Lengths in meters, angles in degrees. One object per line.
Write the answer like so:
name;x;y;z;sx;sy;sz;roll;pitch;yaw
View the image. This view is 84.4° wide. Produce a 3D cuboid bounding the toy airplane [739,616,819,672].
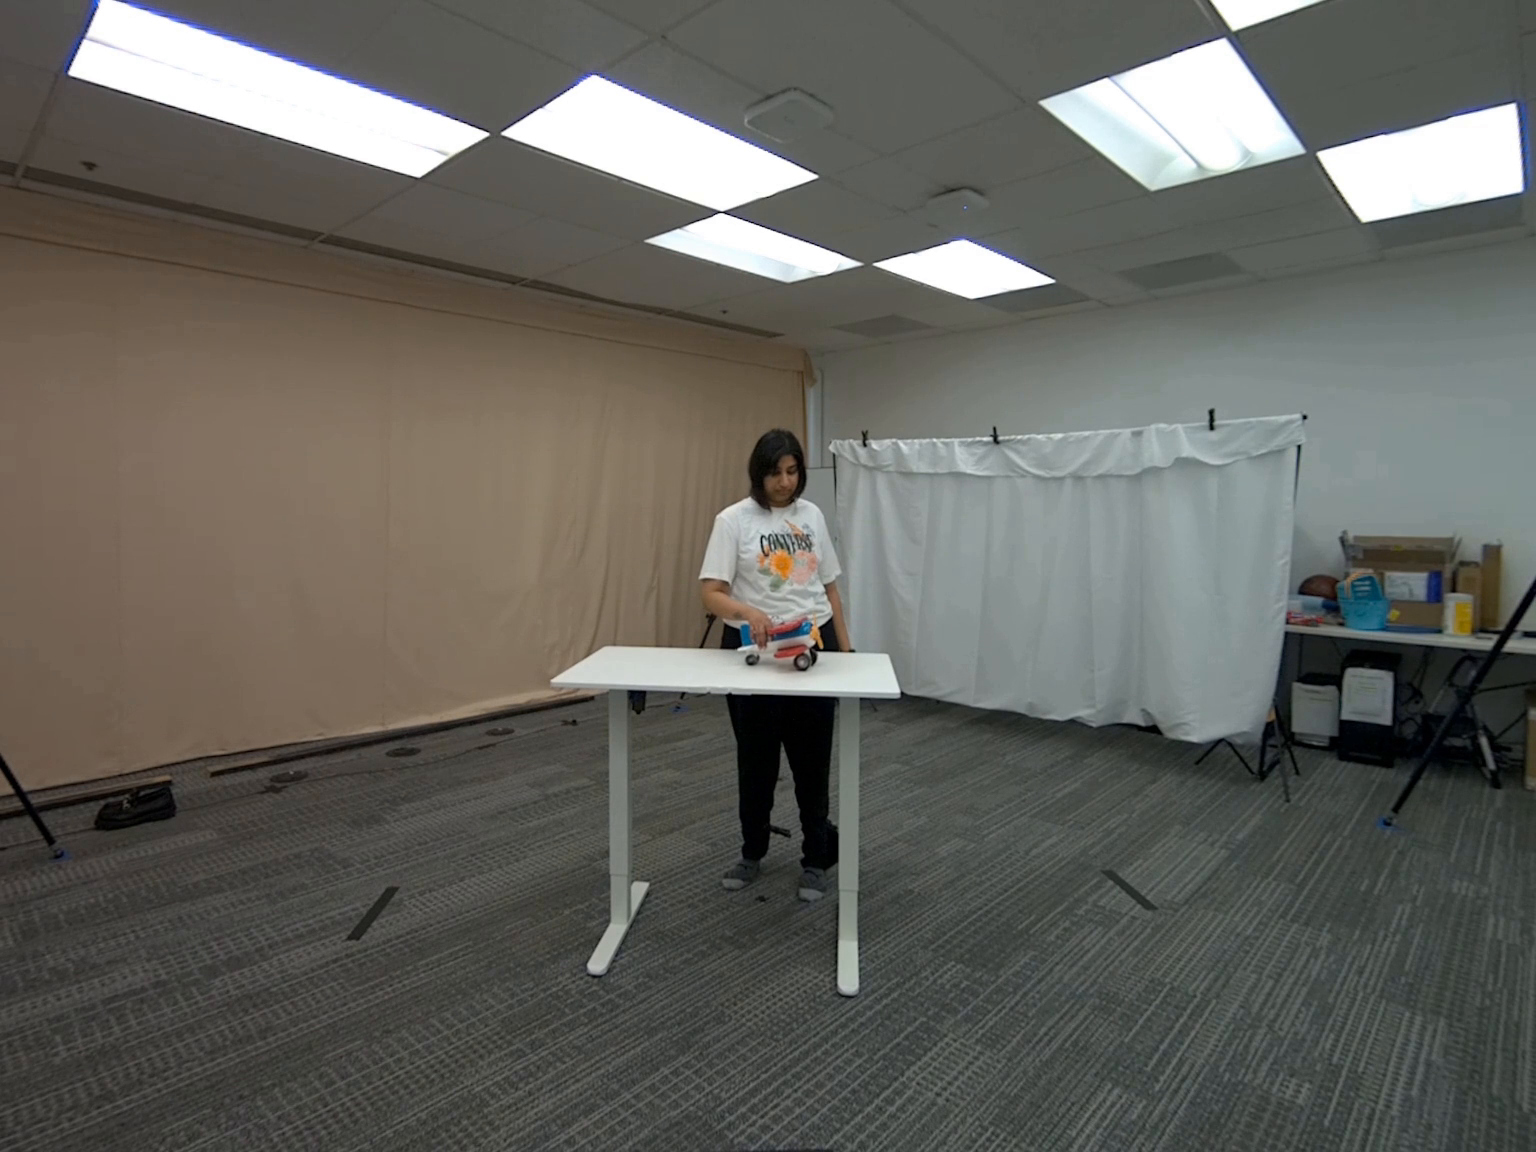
toy airplane;0.039;0.212;2.655;0.256;0.156;0.254;1;4;-10
